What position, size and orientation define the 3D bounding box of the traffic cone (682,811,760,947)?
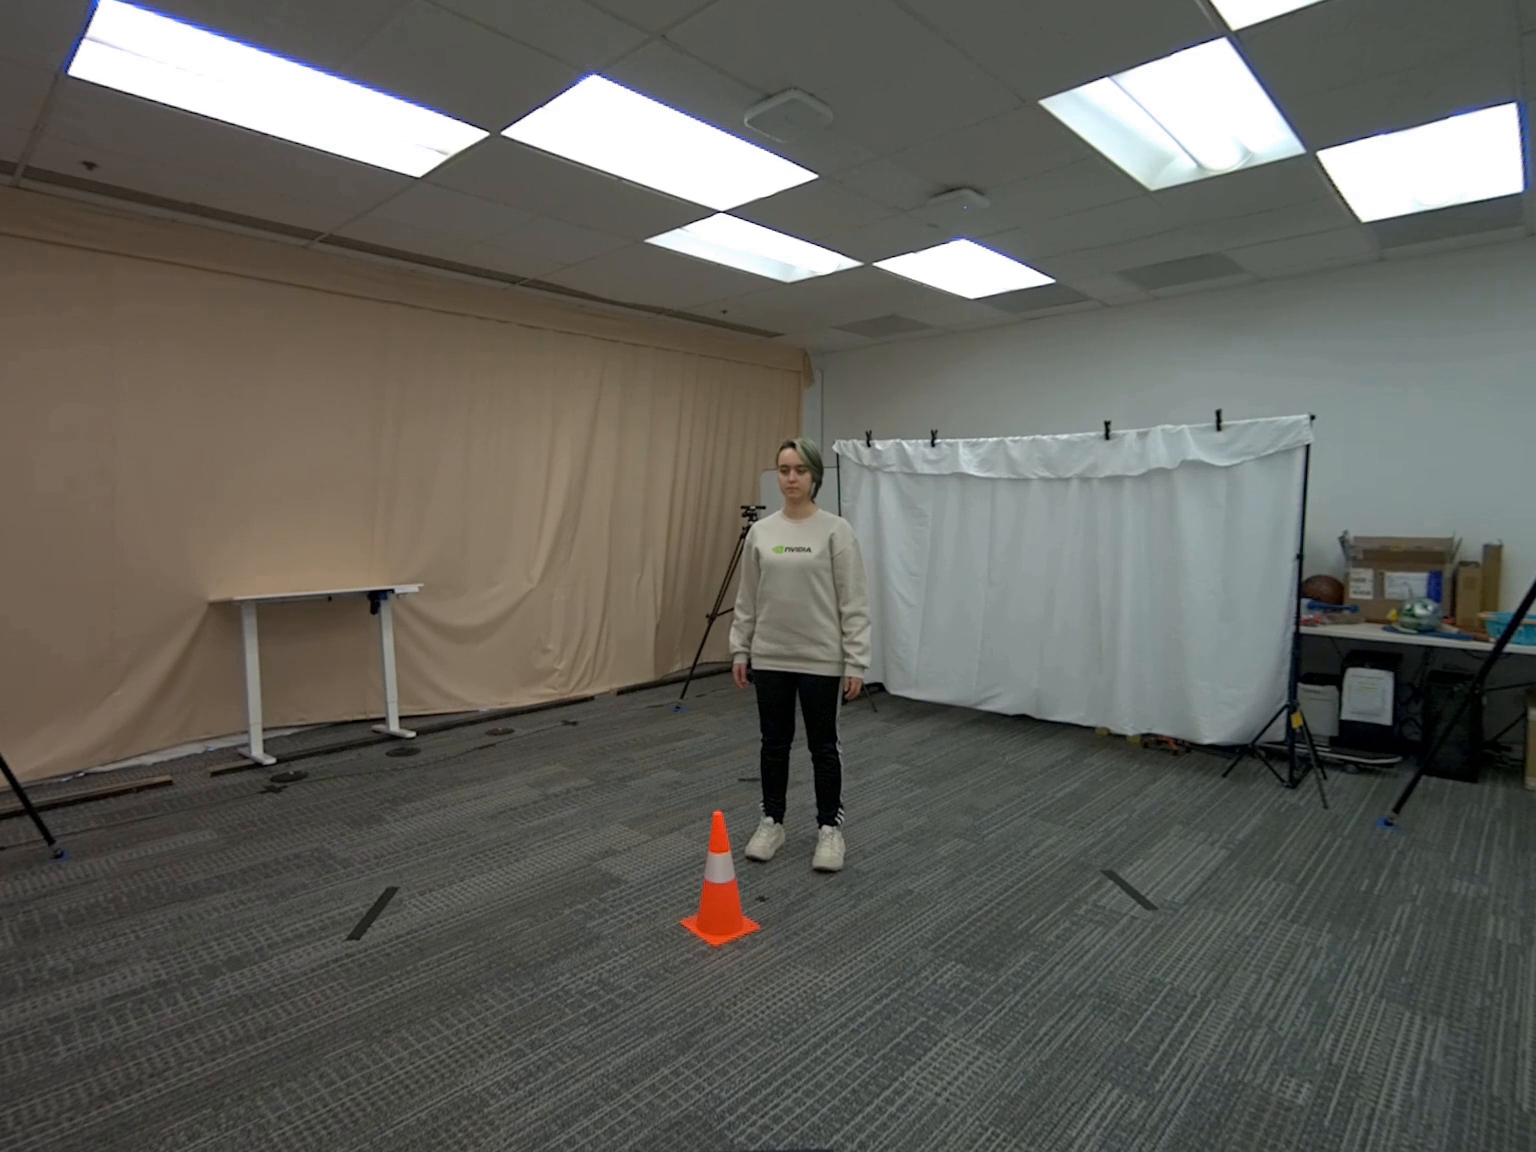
[{"bbox_3d":[-0.157,0.978,2.790,0.197,0.383,0.211,-2,2,-37],"label":"traffic cone"}]
